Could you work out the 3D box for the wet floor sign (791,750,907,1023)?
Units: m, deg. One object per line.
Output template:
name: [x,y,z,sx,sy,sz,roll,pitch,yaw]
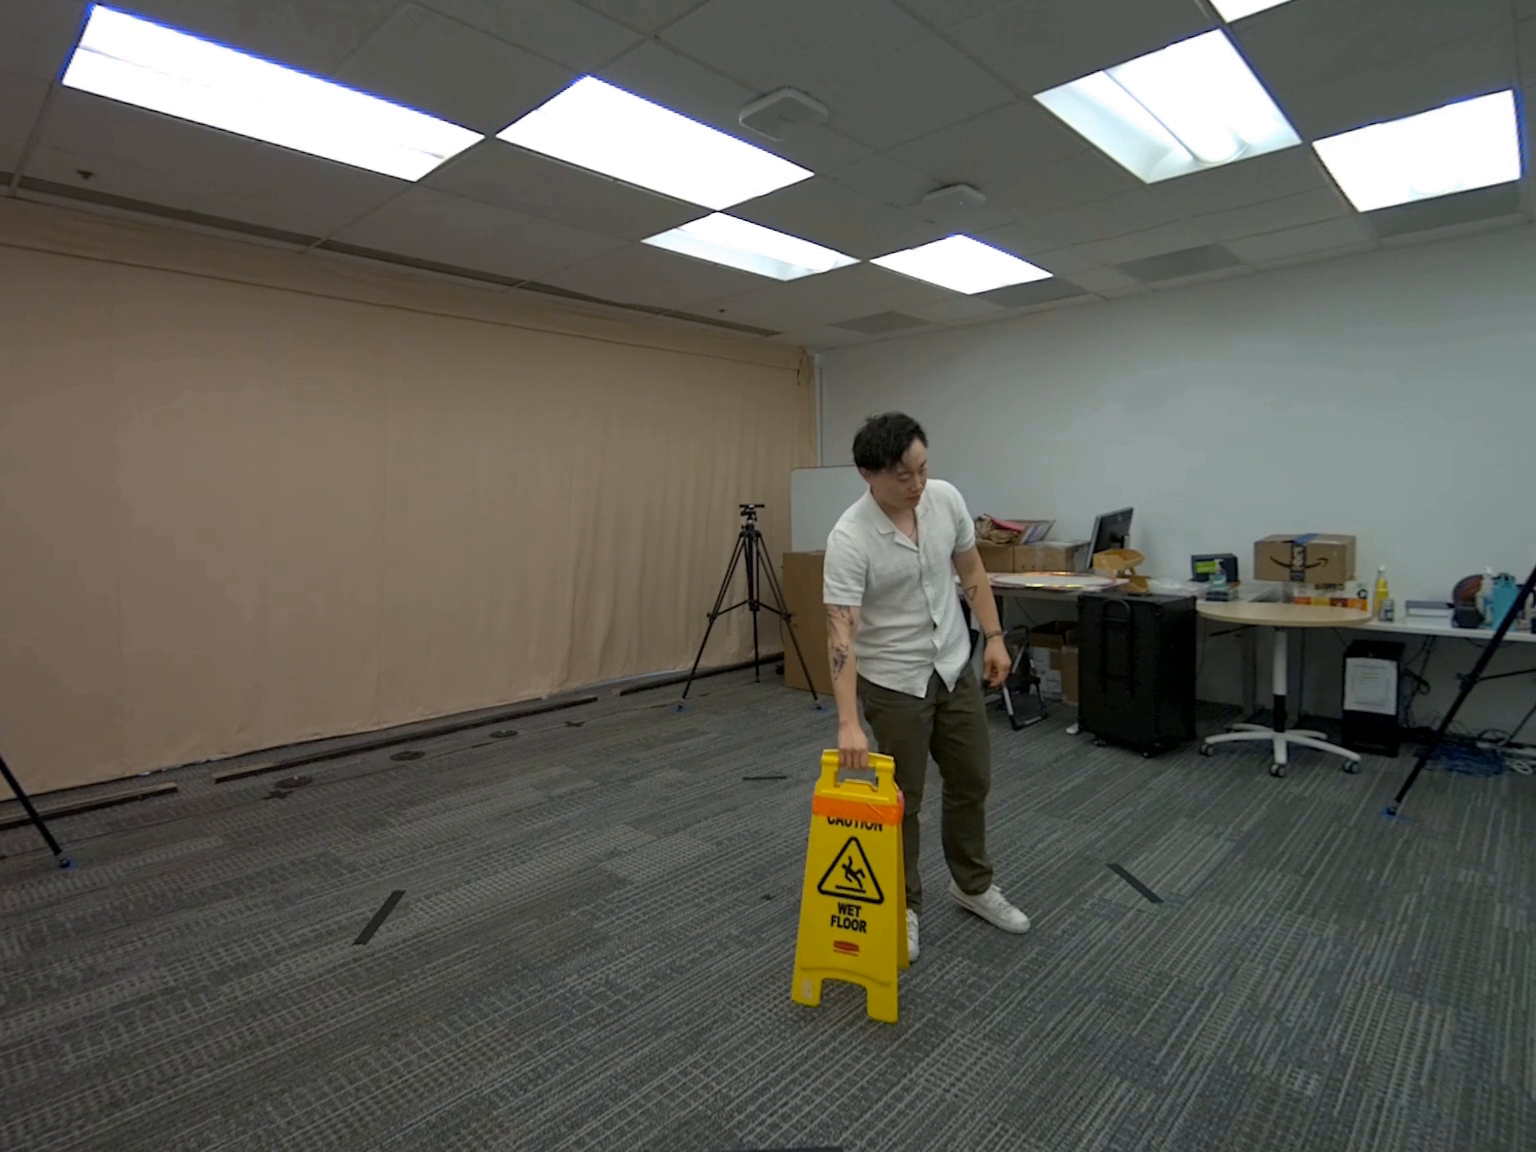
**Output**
wet floor sign: [0.249,0.809,2.316,0.288,0.645,0.284,3,2,17]
